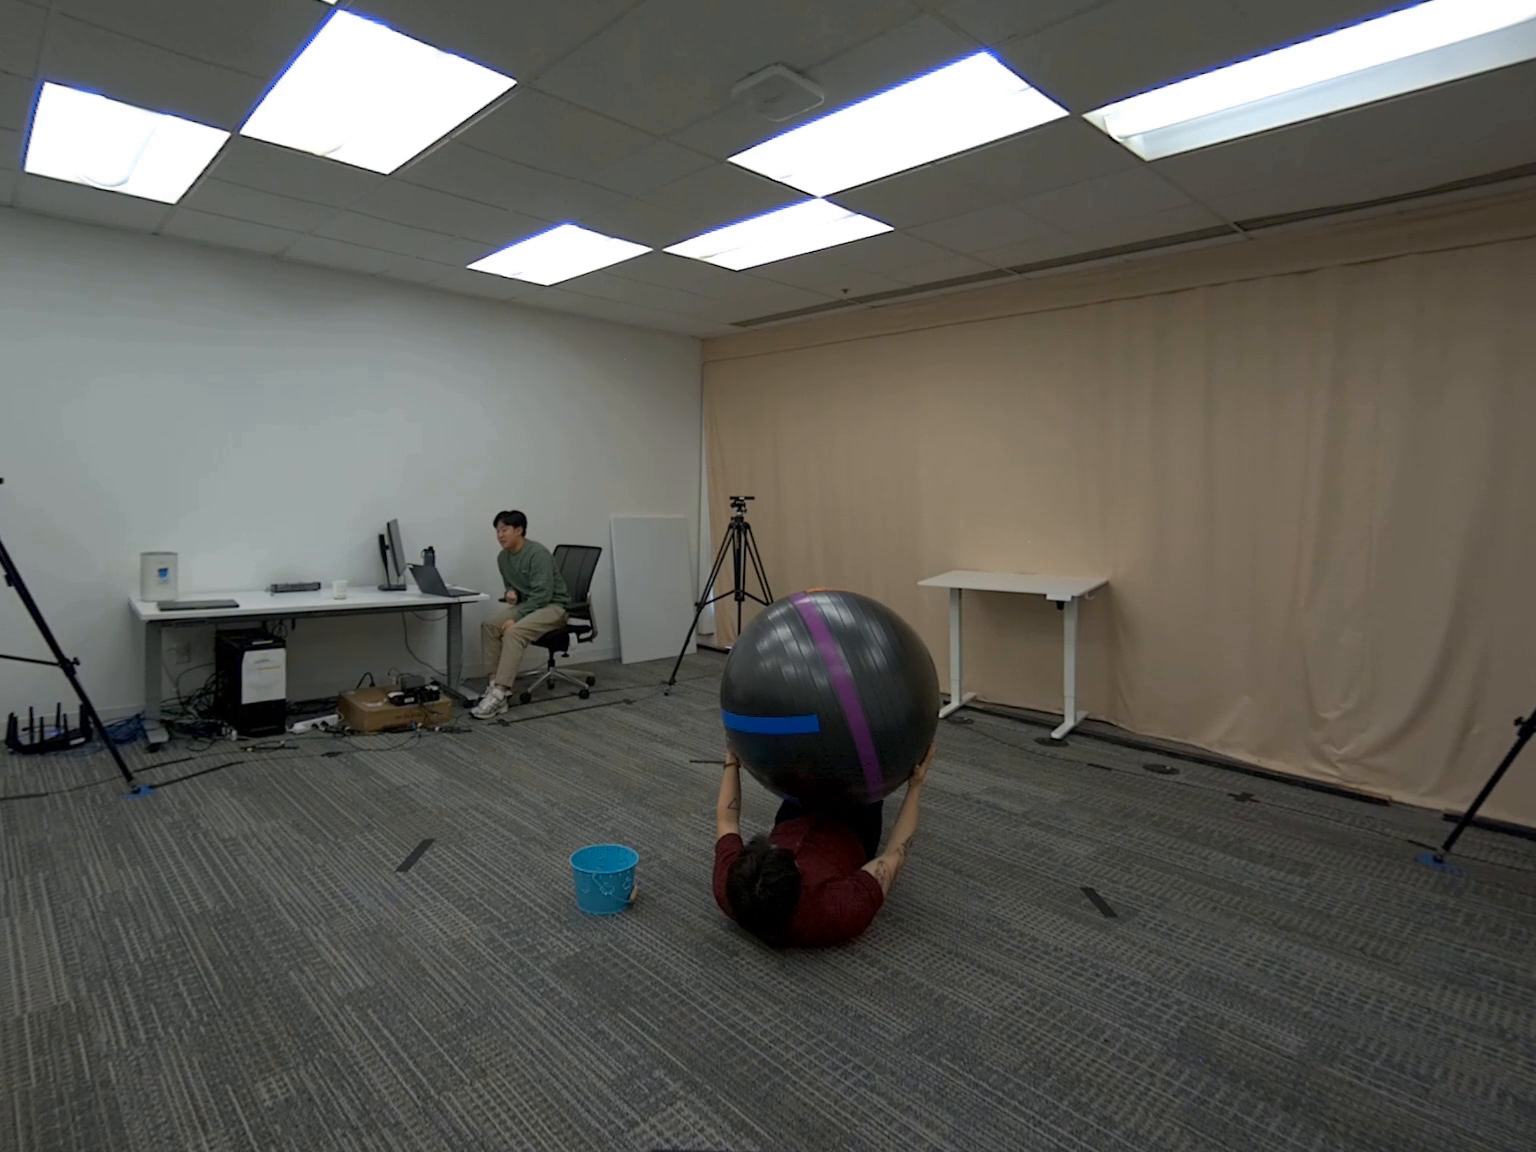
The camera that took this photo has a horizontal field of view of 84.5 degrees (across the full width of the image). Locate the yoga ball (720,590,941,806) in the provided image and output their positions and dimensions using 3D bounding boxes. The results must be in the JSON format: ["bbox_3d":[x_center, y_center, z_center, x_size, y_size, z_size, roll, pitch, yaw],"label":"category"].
[{"bbox_3d":[0.209,0.426,2.952,0.757,0.756,0.761,1,4,-1],"label":"yoga ball"}]
